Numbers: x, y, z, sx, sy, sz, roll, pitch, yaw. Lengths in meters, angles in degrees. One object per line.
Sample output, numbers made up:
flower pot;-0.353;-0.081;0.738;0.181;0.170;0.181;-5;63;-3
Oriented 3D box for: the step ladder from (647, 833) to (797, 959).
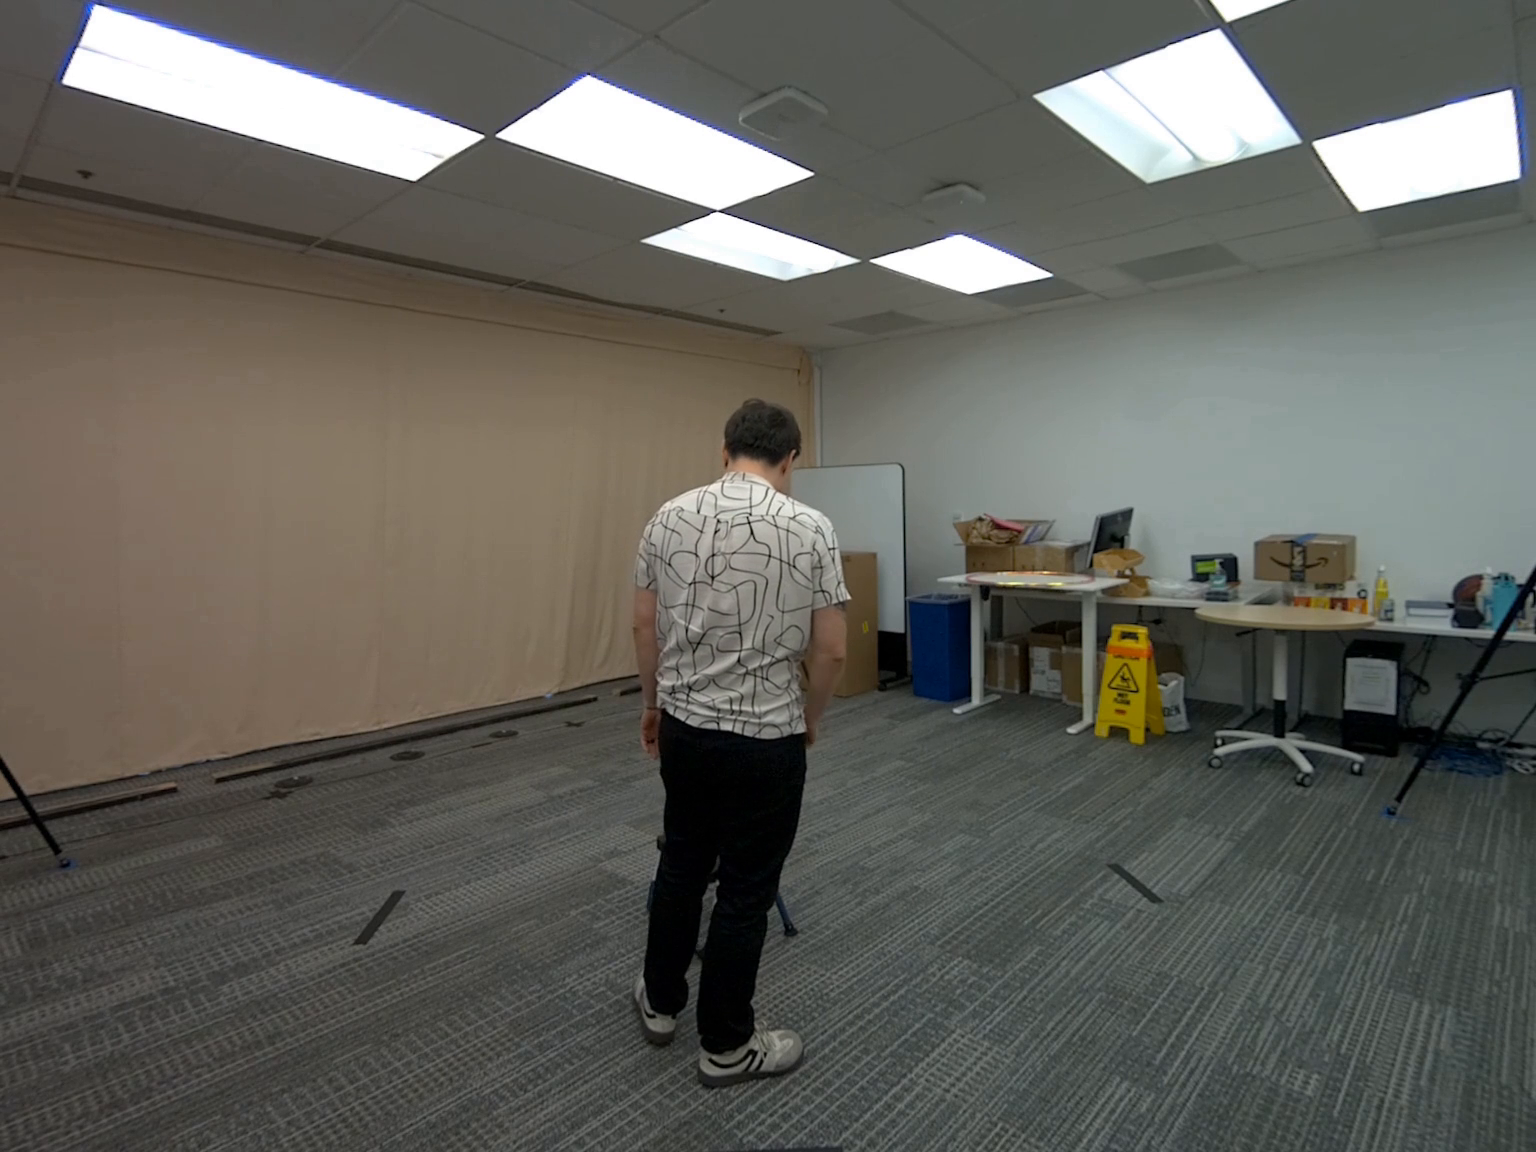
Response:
step ladder;-0.172;0.852;2.806;0.340;0.604;0.444;-4;5;-33
